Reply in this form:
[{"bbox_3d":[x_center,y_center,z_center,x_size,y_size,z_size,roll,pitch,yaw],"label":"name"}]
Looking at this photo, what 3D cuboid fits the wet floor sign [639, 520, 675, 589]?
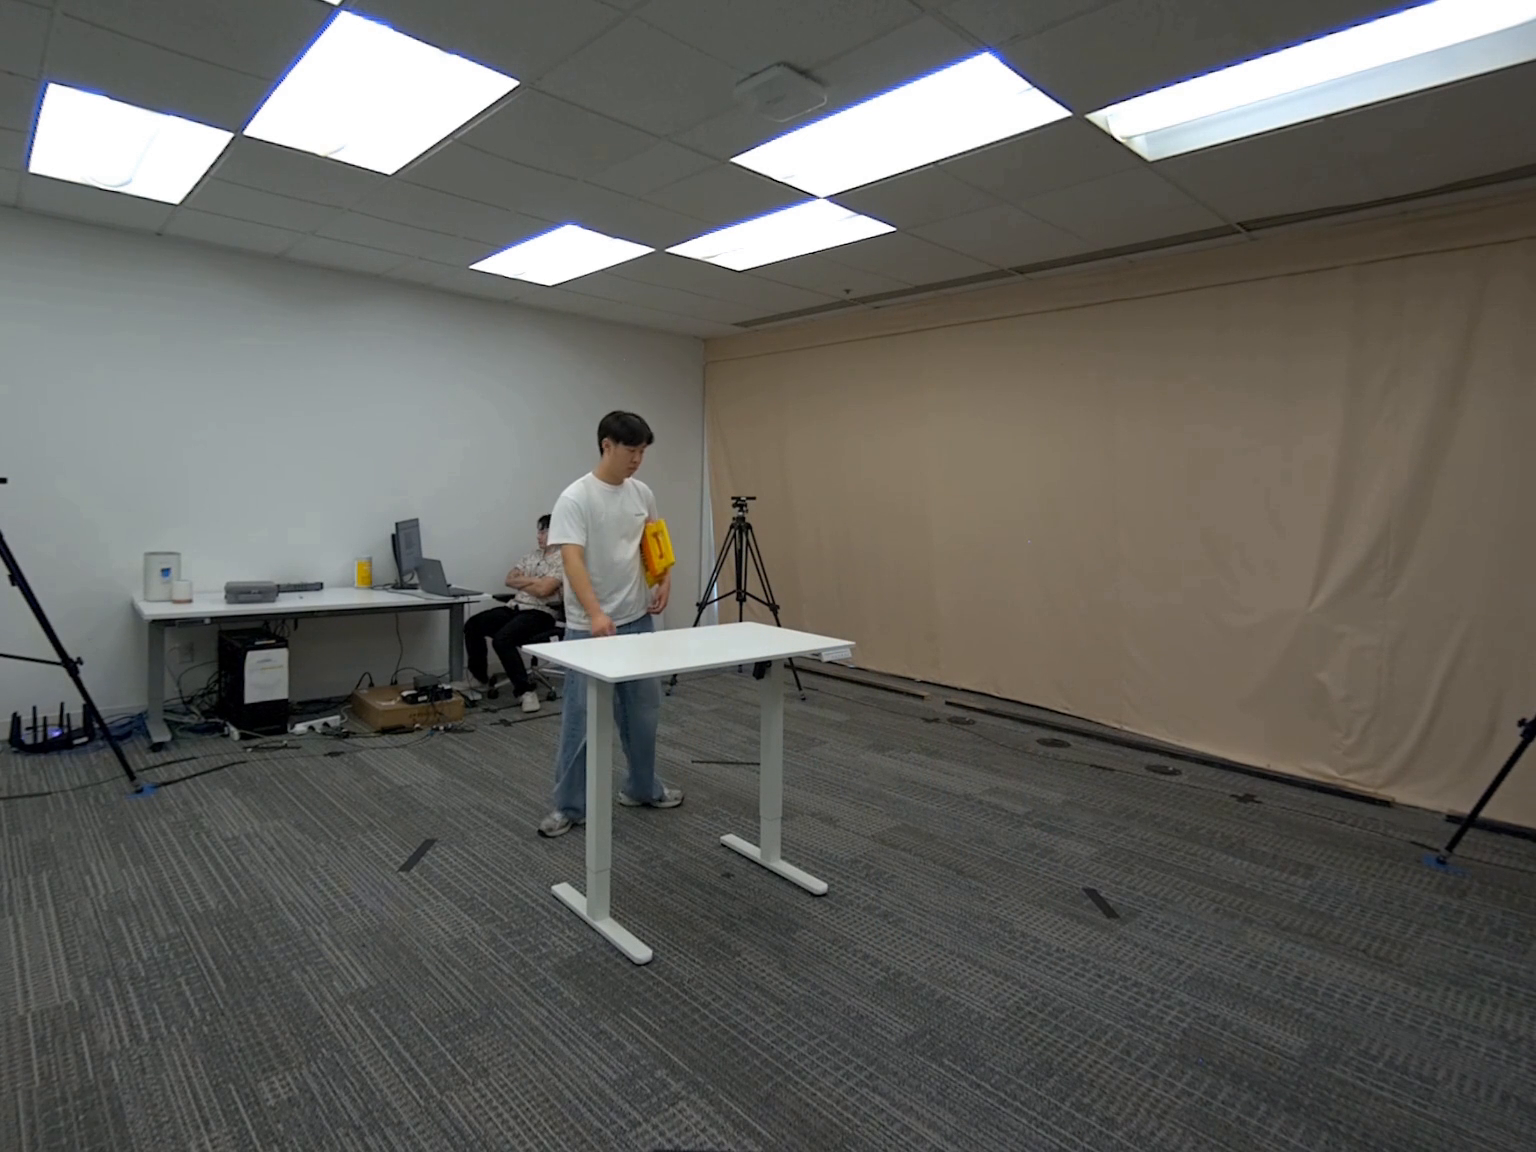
[{"bbox_3d":[-0.586,-0.048,3.779,0.284,0.285,0.652,-7,-14,-37],"label":"wet floor sign"}]
